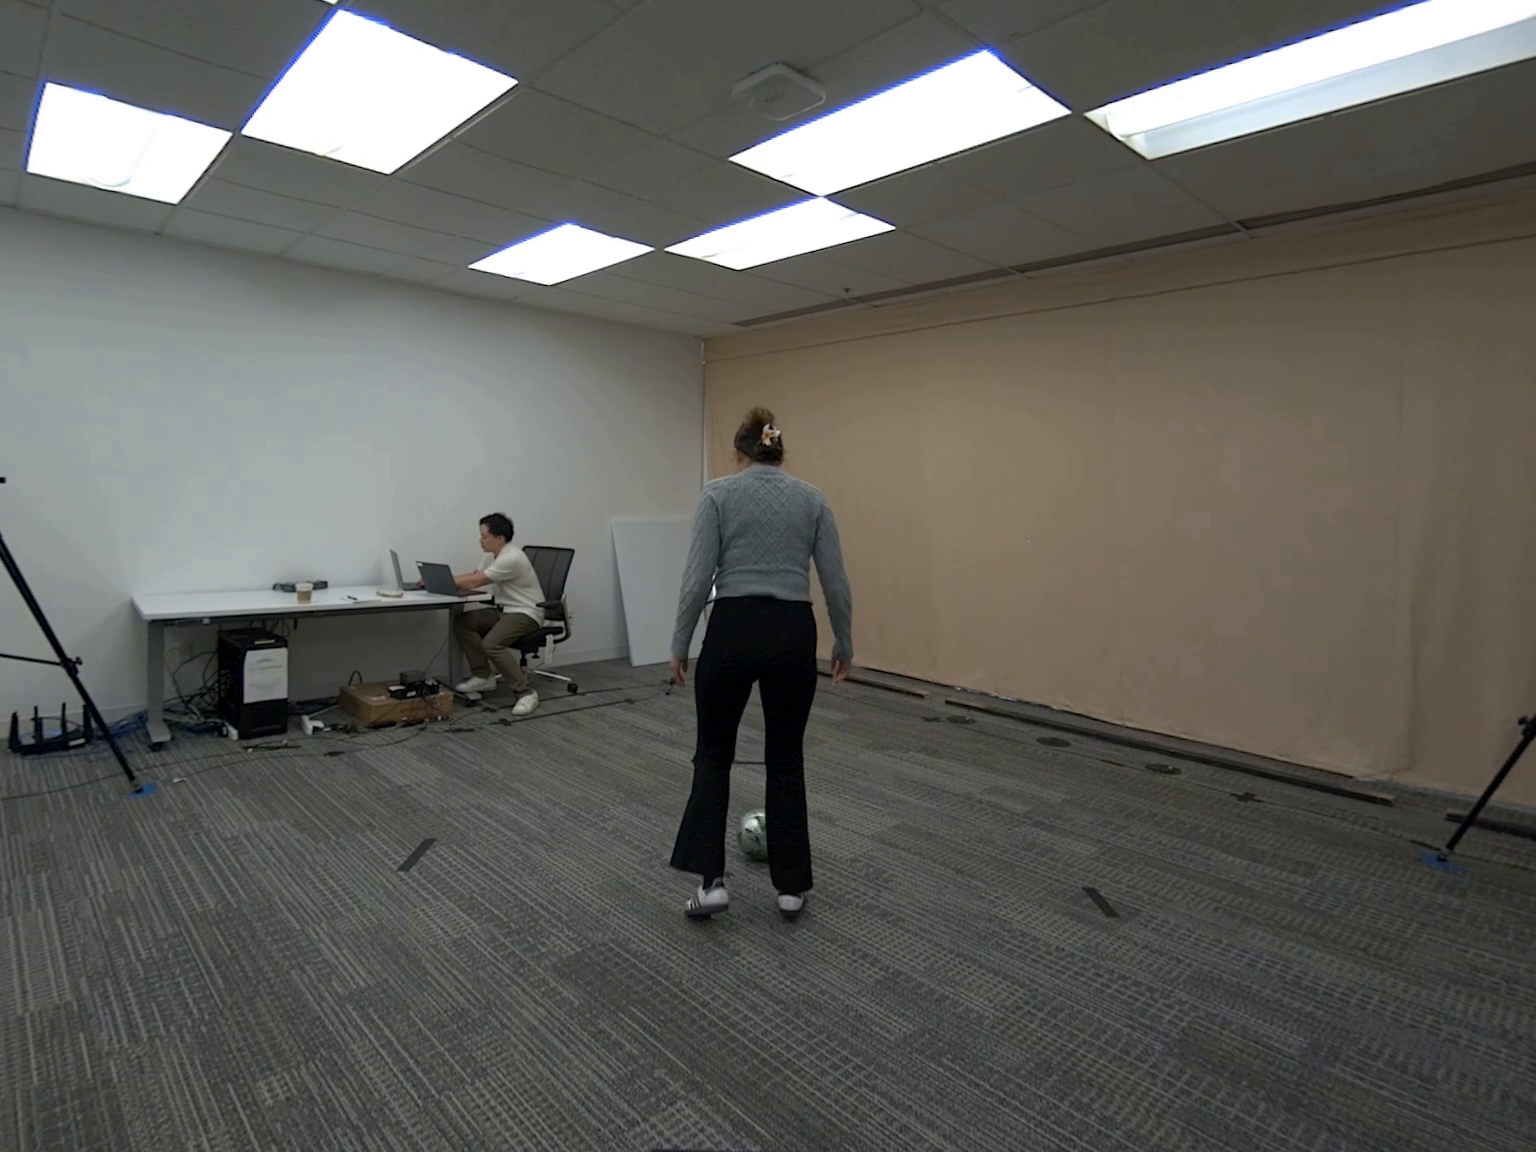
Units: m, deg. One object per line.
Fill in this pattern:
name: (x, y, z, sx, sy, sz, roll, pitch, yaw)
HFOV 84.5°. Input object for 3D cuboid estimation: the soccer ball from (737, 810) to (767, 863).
soccer ball: (-0.036, 0.998, 3.252, 0.187, 0.187, 0.188, 1, 4, -1)
